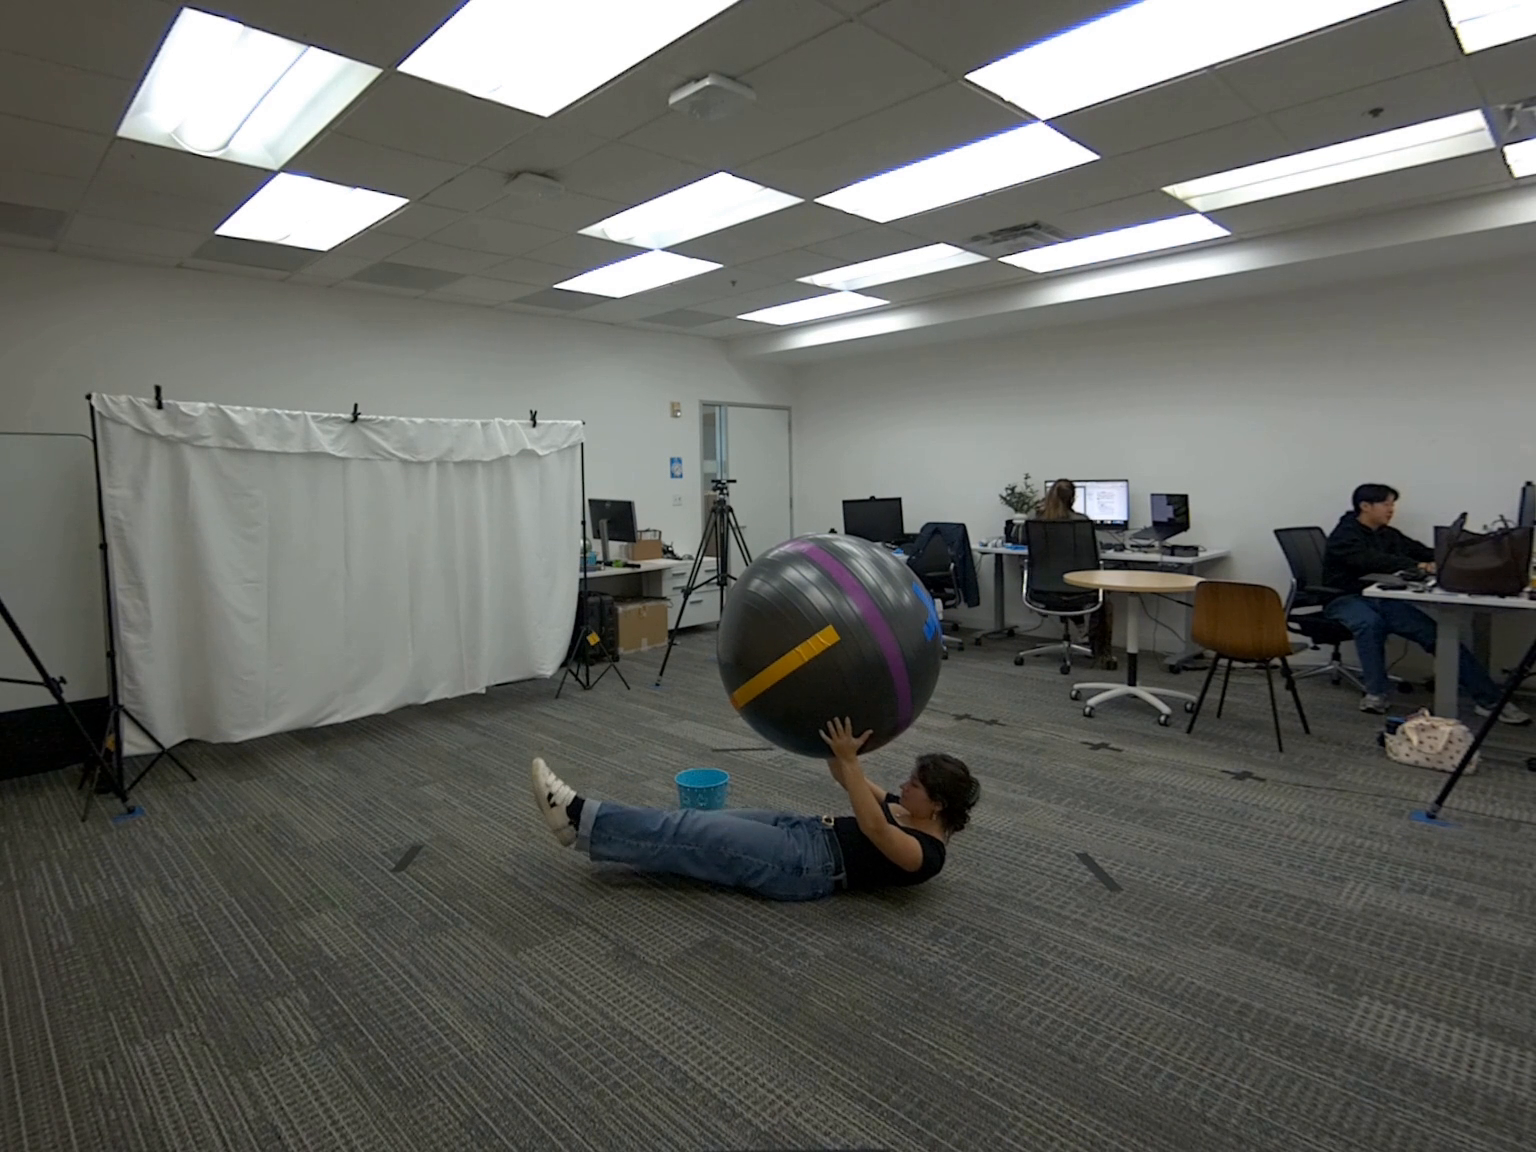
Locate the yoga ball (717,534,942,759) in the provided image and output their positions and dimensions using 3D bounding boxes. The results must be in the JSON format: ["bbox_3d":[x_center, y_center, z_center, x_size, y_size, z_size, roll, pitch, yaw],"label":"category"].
[{"bbox_3d":[0.207,0.234,2.910,0.757,0.755,0.762,-1,5,-2],"label":"yoga ball"}]
